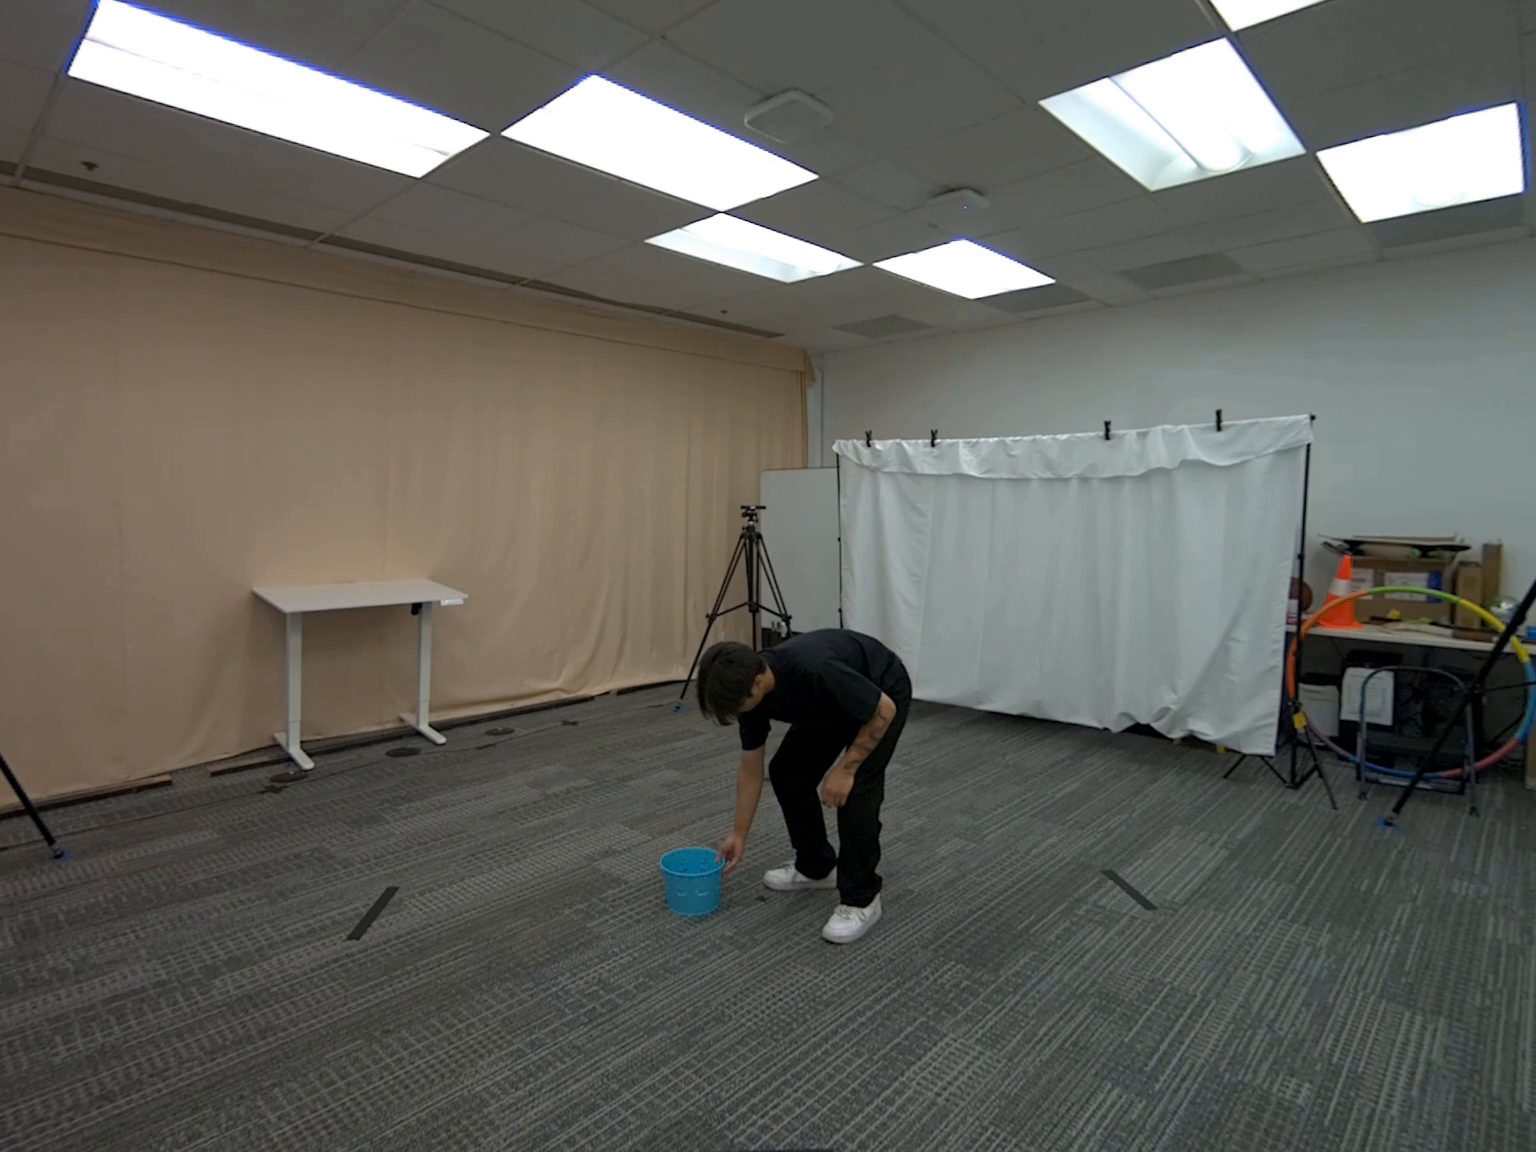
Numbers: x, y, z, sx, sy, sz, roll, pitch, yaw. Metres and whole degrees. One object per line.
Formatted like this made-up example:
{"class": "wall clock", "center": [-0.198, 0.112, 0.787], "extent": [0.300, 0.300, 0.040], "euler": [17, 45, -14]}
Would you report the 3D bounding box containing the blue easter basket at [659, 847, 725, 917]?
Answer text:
{"class": "blue easter basket", "center": [-0.257, 1.071, 2.948], "extent": [0.243, 0.155, 0.244], "euler": [-1, 4, -2]}
